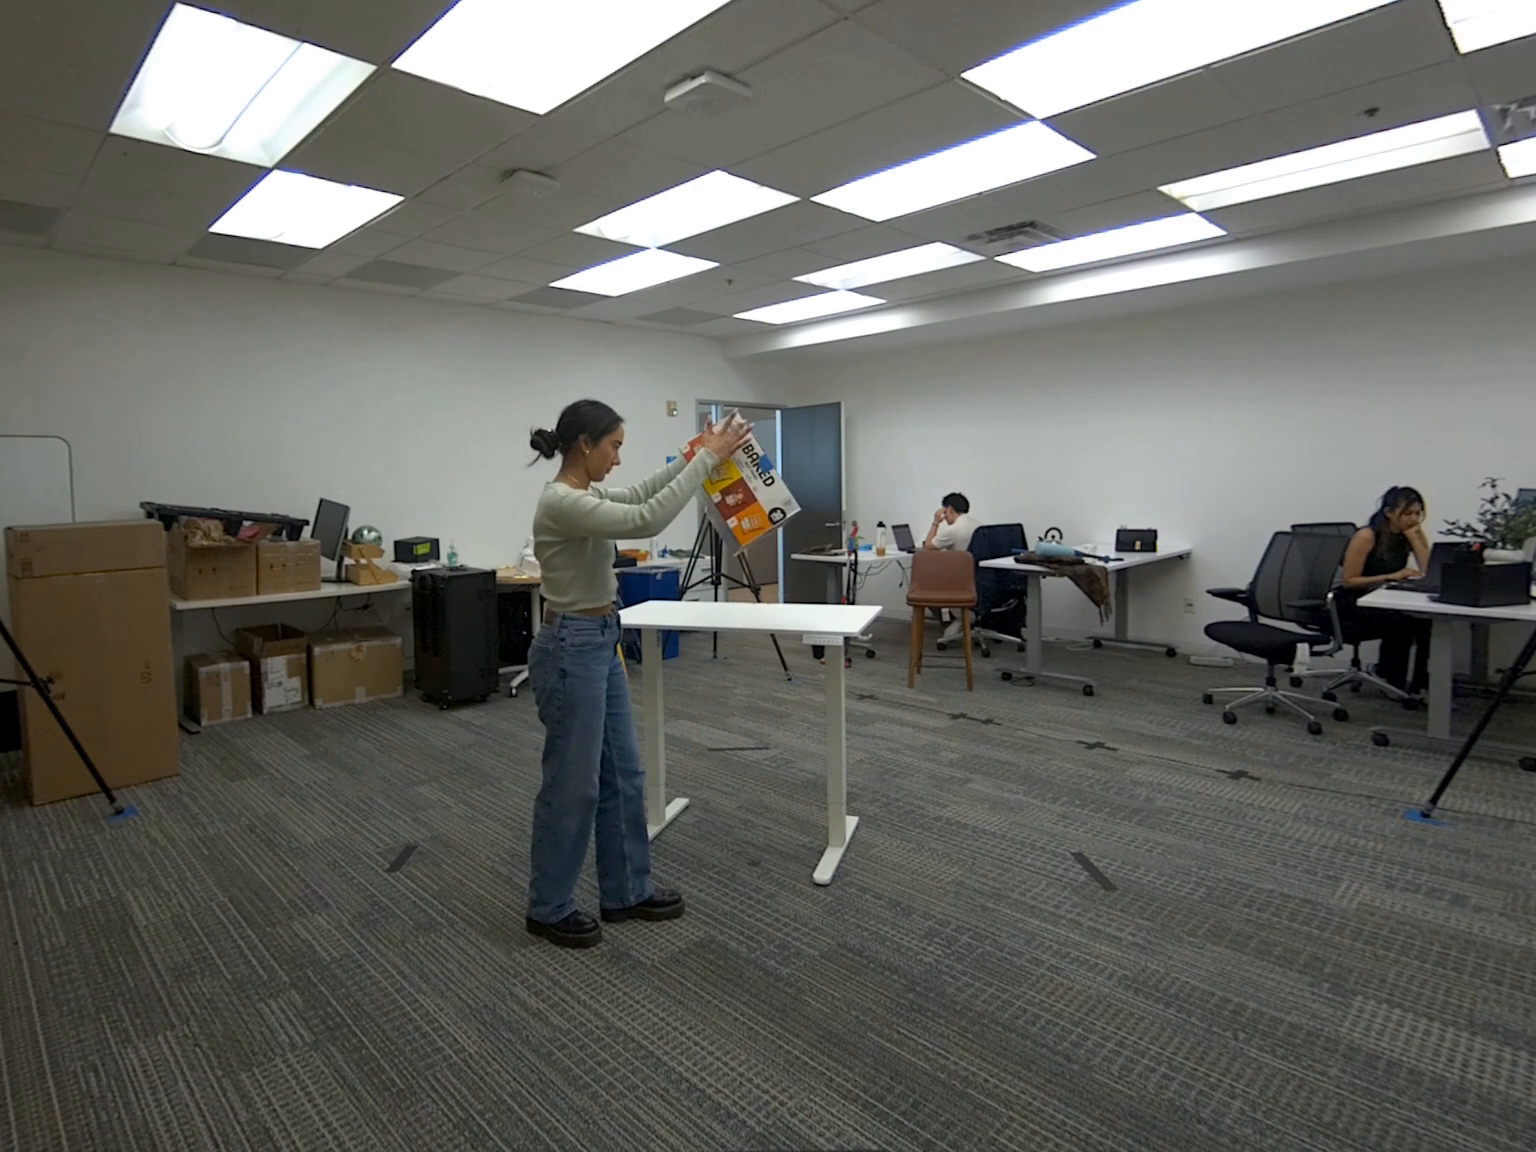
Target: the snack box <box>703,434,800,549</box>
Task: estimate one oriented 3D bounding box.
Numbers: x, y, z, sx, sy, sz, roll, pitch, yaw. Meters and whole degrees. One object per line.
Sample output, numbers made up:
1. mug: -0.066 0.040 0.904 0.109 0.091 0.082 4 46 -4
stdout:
1. snack box: -0.101 -0.268 2.625 0.205 0.342 0.404 -32 -2 -6
